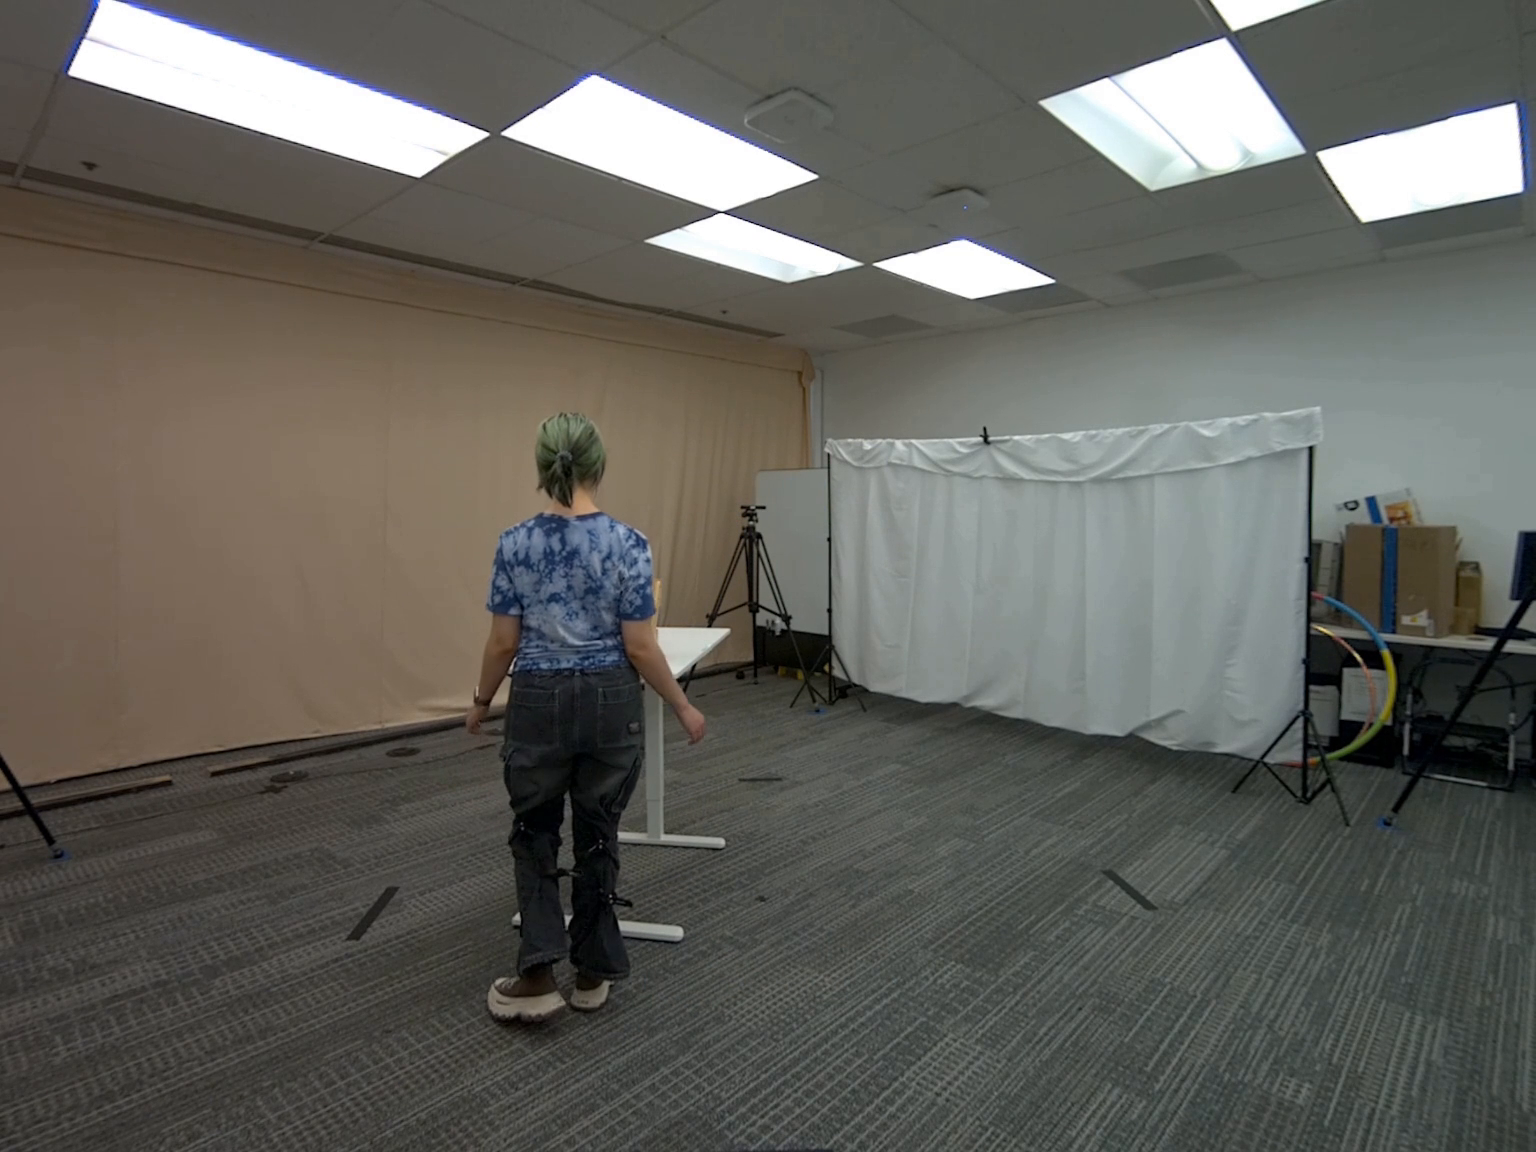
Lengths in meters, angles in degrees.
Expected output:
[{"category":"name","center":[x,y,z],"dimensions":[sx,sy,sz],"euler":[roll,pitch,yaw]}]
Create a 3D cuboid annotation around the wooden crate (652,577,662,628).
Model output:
[{"category":"wooden crate","center":[-0.540,0.146,2.790],"dimensions":[0.328,0.273,0.299],"euler":[0,2,10]}]
